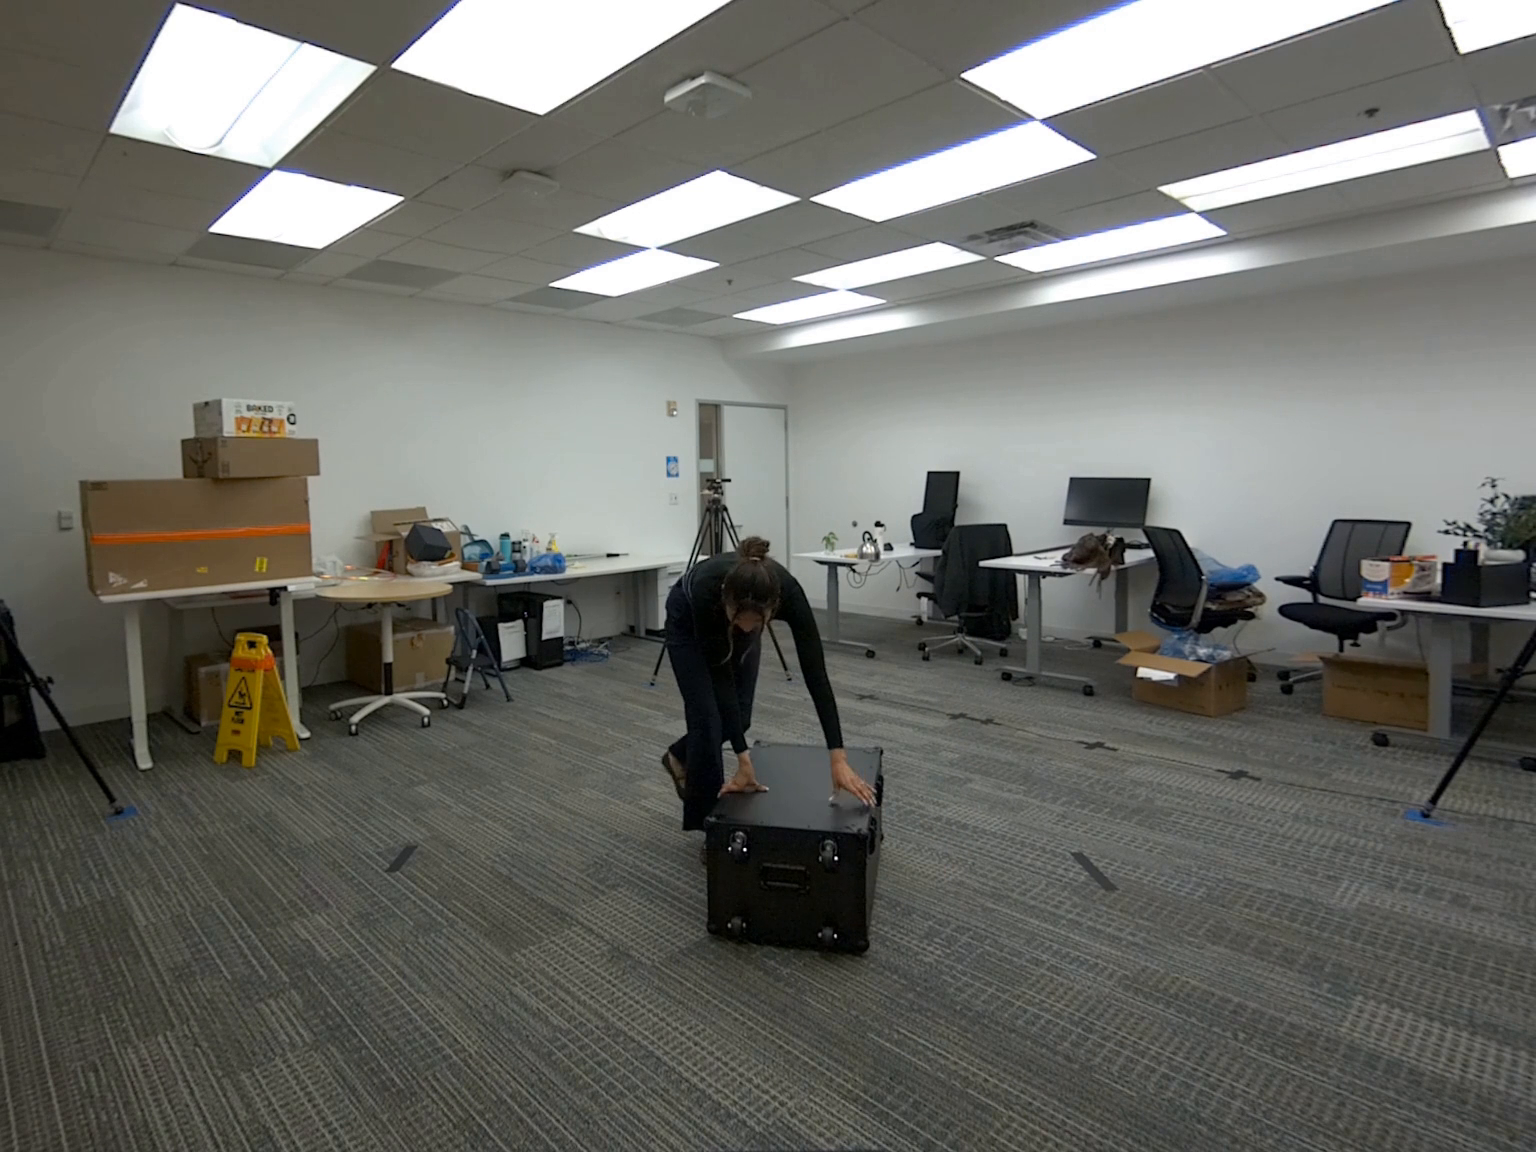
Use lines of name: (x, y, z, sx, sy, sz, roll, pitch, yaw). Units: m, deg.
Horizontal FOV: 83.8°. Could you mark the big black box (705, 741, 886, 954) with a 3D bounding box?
big black box: (0.116, 0.875, 2.858, 0.528, 0.395, 0.854, 0, 5, 12)
